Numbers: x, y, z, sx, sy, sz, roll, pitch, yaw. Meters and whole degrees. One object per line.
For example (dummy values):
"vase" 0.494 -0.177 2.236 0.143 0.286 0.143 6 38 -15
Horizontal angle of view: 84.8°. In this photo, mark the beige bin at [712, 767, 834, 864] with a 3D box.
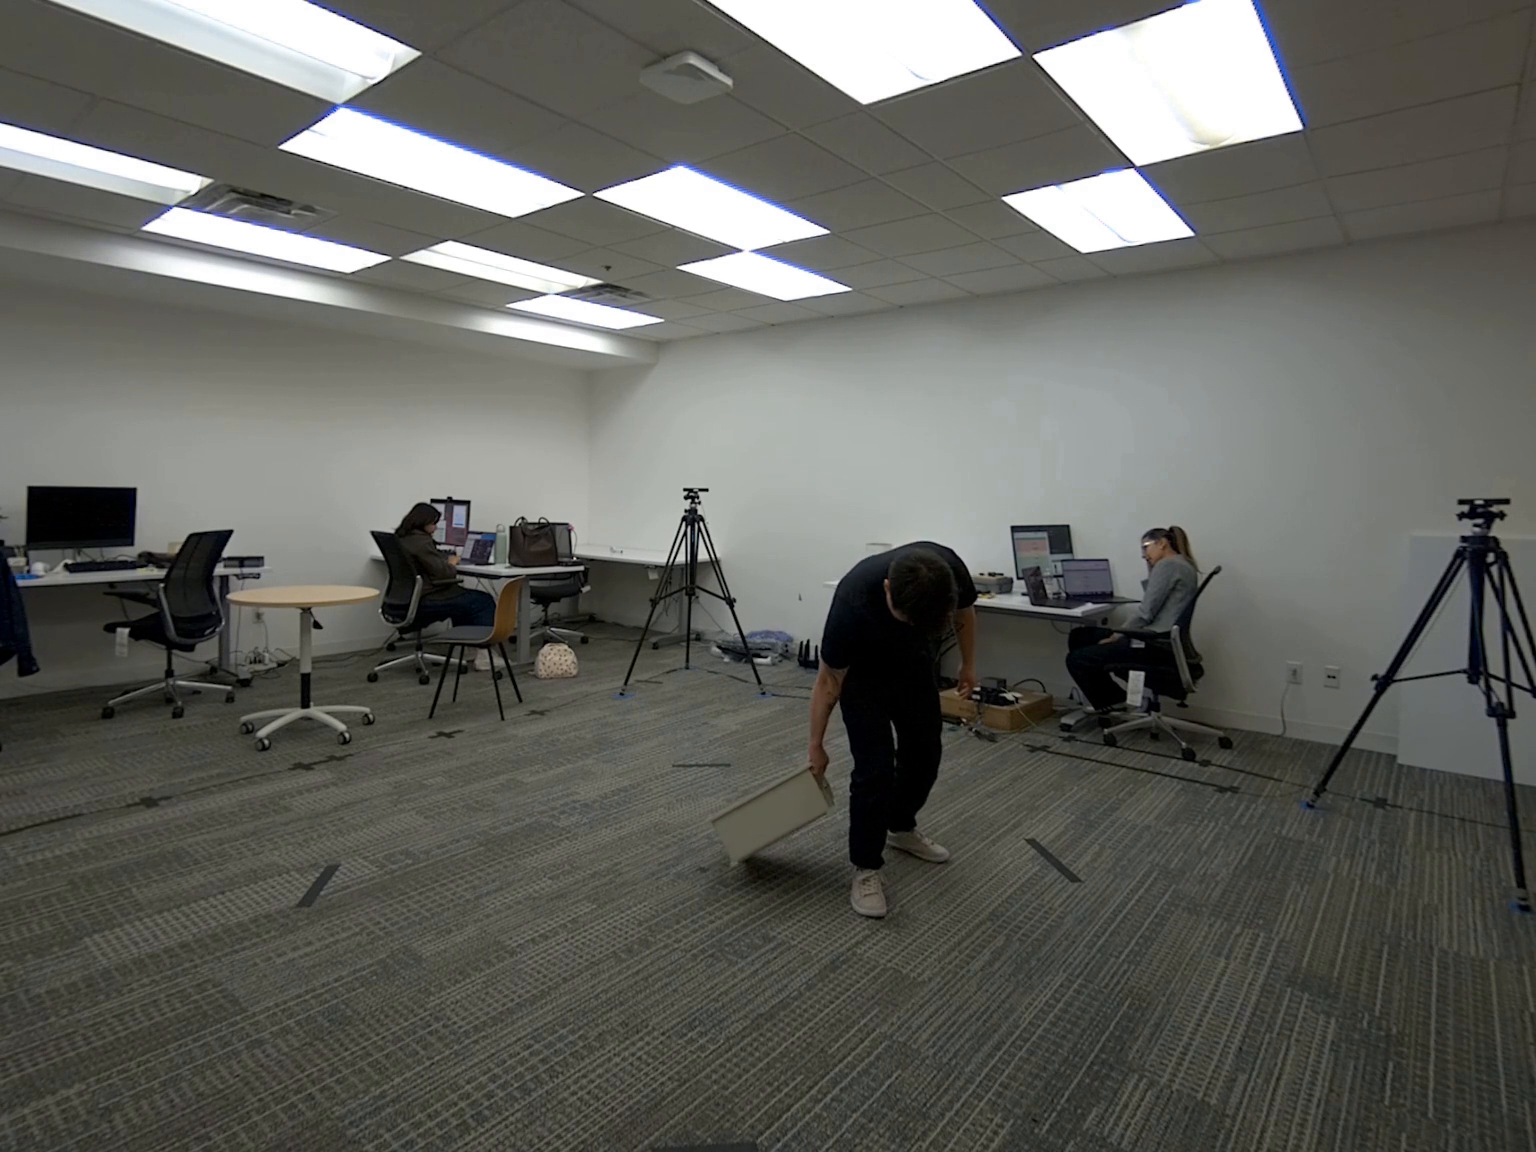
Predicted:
"beige bin" 0.016 0.858 3.094 0.422 0.193 0.370 -28 -12 1
